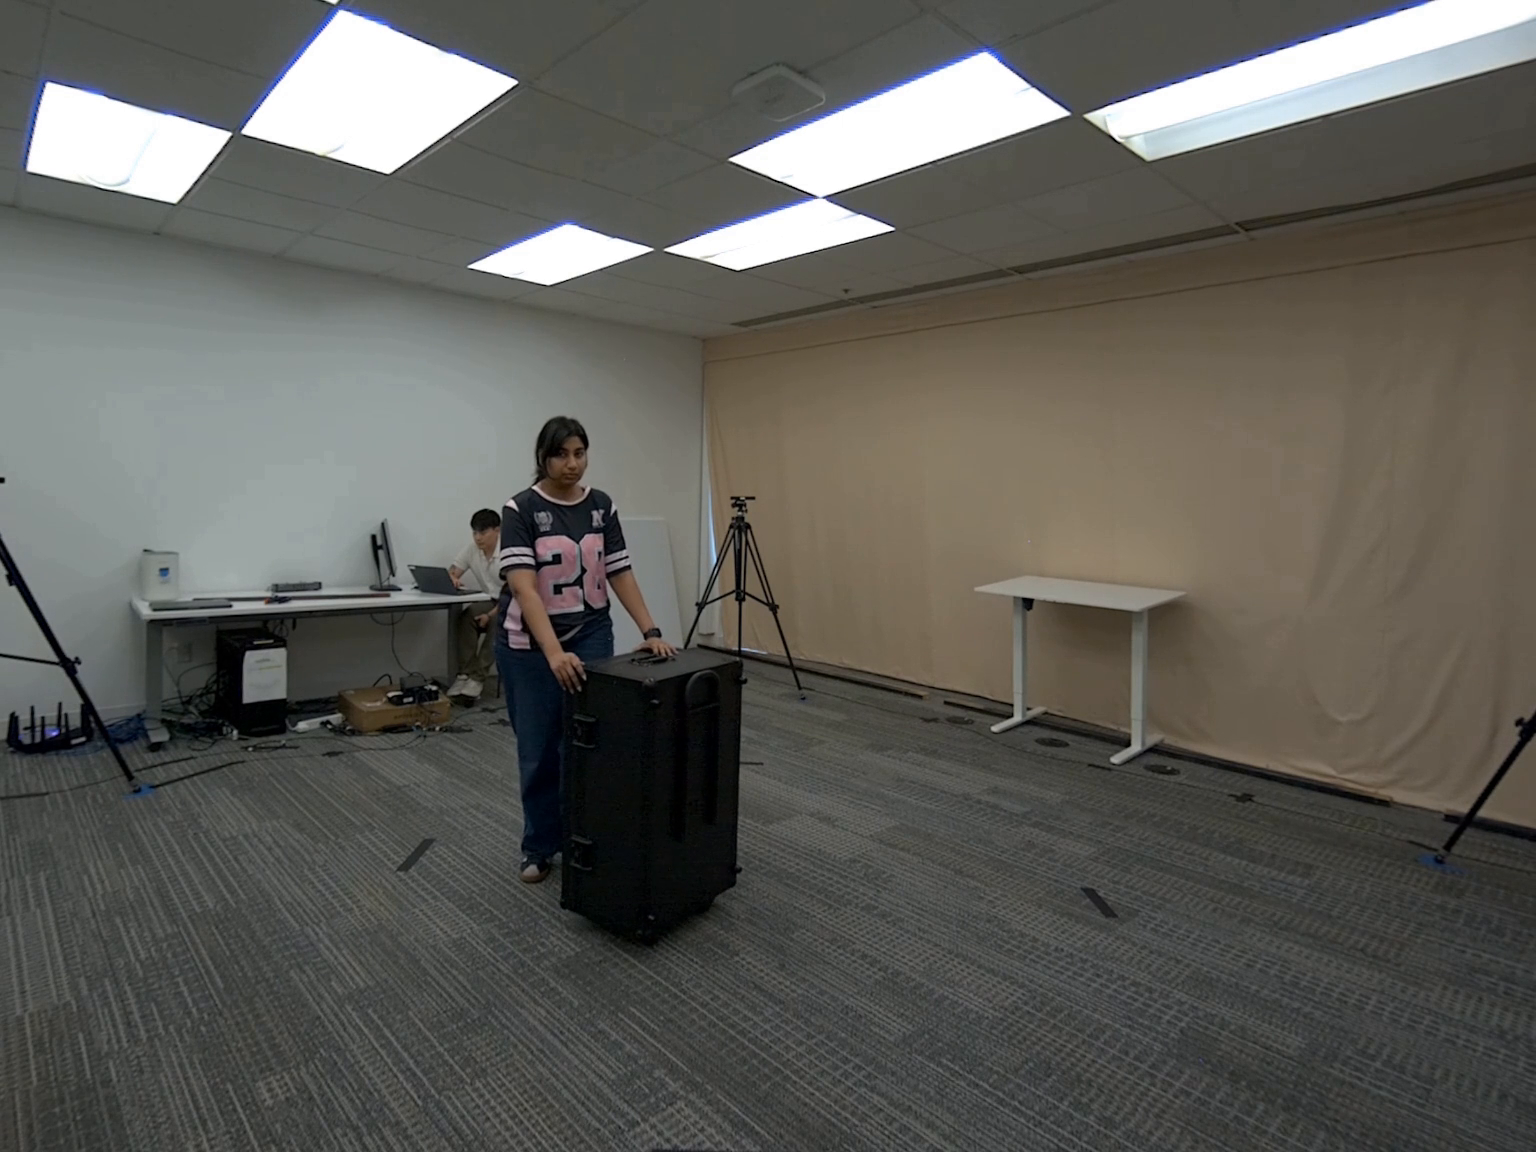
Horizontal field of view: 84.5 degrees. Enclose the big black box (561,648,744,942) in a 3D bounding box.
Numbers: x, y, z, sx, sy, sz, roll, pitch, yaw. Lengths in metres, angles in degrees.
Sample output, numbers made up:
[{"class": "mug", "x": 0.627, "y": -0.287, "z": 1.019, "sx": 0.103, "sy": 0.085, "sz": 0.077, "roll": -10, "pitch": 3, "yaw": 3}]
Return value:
[{"class": "big black box", "x": -0.367, "y": 0.710, "z": 2.760, "sx": 0.394, "sy": 0.866, "sz": 0.512, "roll": 4, "pitch": 4, "yaw": 34}]
